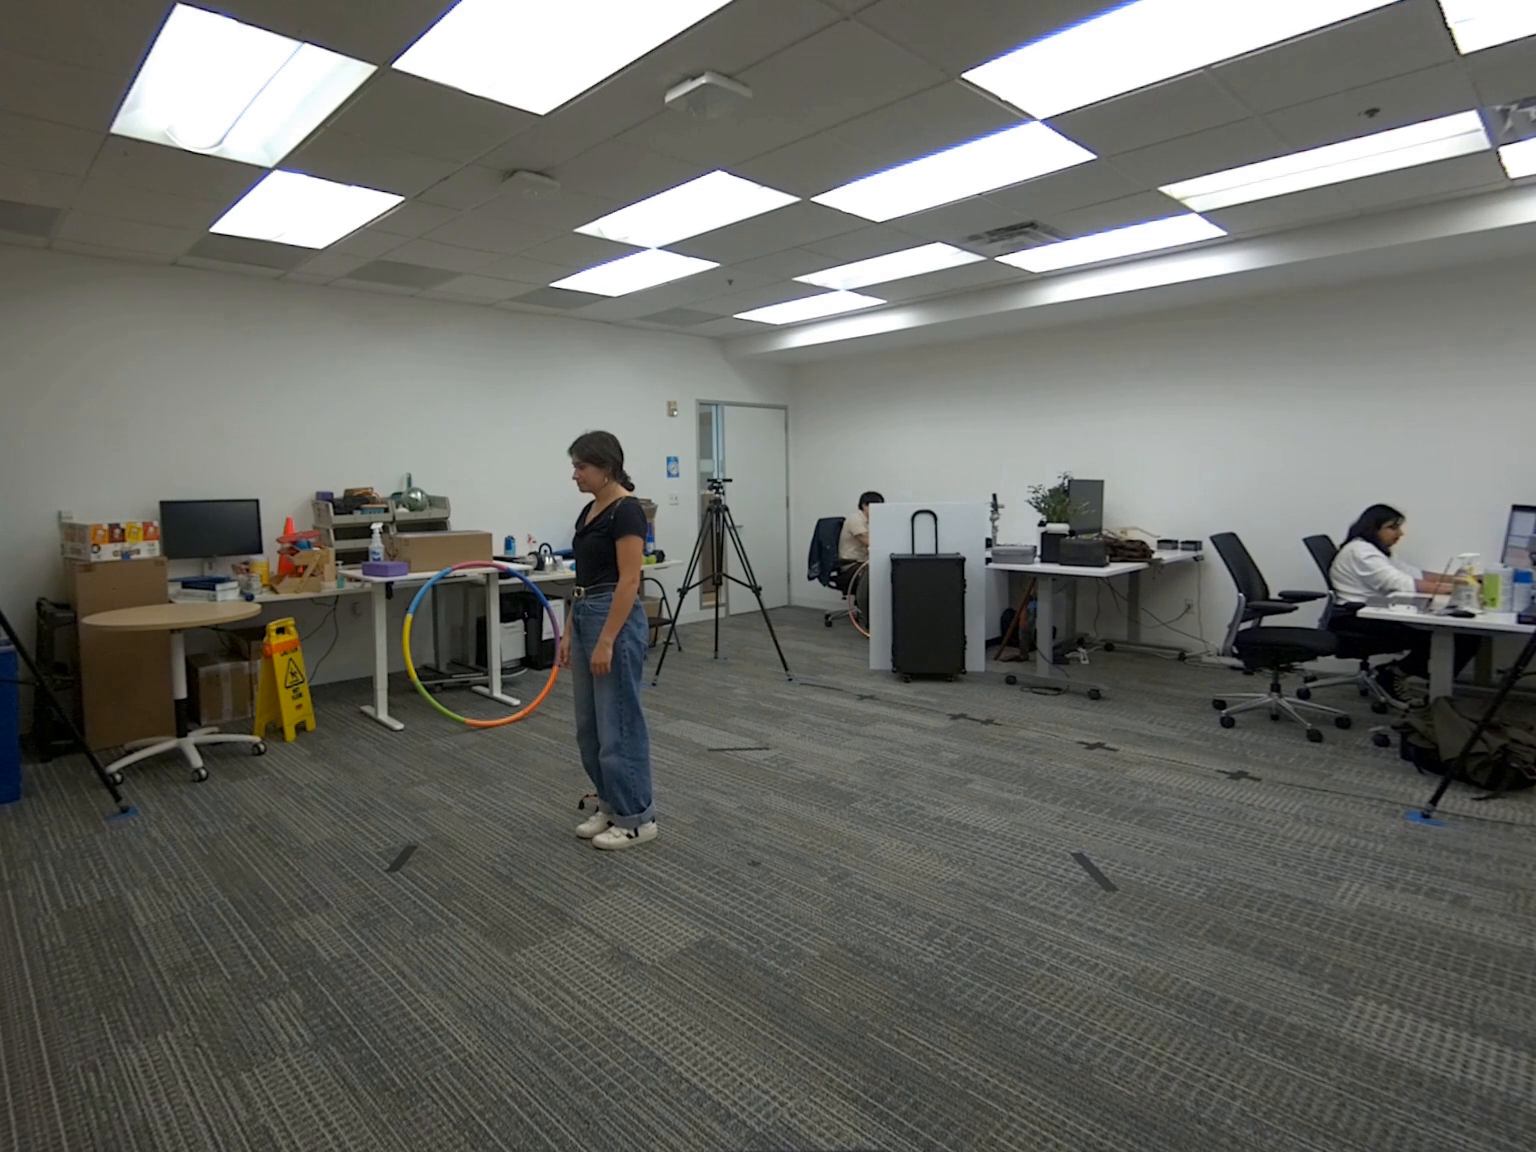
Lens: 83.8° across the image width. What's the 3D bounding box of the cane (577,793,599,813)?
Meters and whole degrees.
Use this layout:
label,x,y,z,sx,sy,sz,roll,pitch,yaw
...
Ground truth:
label,x,y,z,sx,sy,sz,roll,pitch,yaw
cane,-0.699,0.545,3.673,0.156,0.905,0.201,2,4,43
